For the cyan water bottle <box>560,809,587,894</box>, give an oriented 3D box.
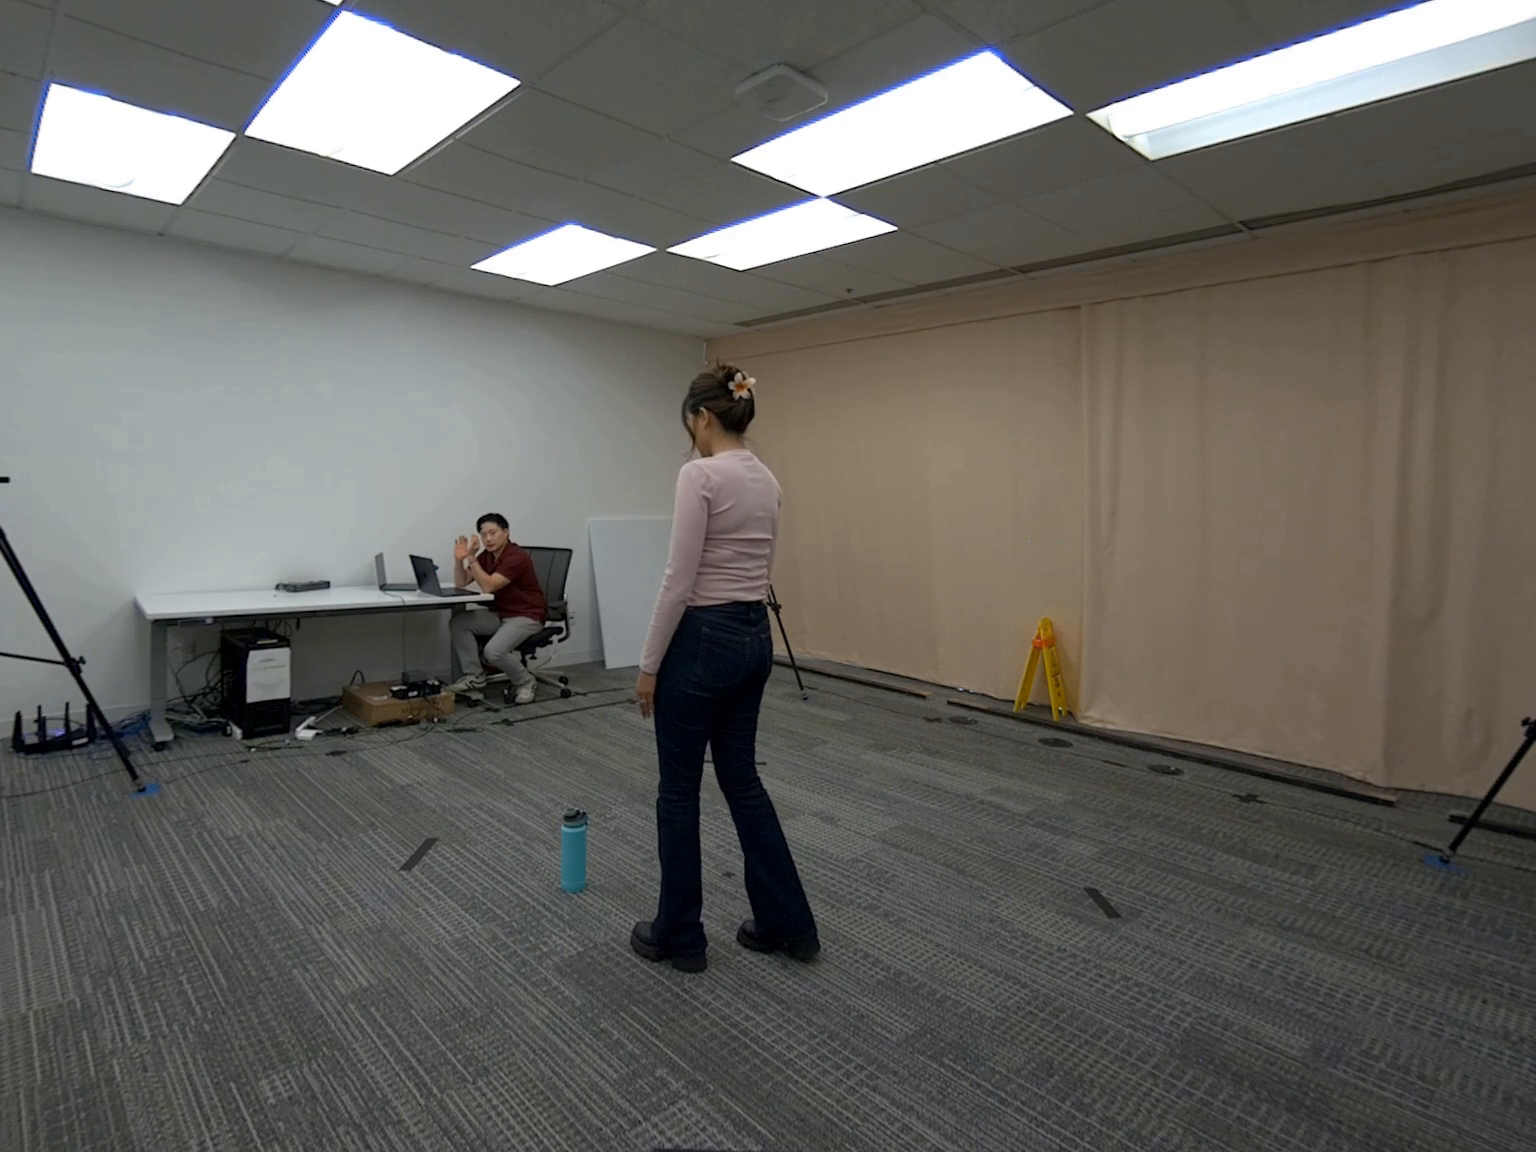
[{"bbox_3d":[-0.698,0.965,2.972,0.092,0.283,0.092,2,3,-1],"label":"cyan water bottle"}]
